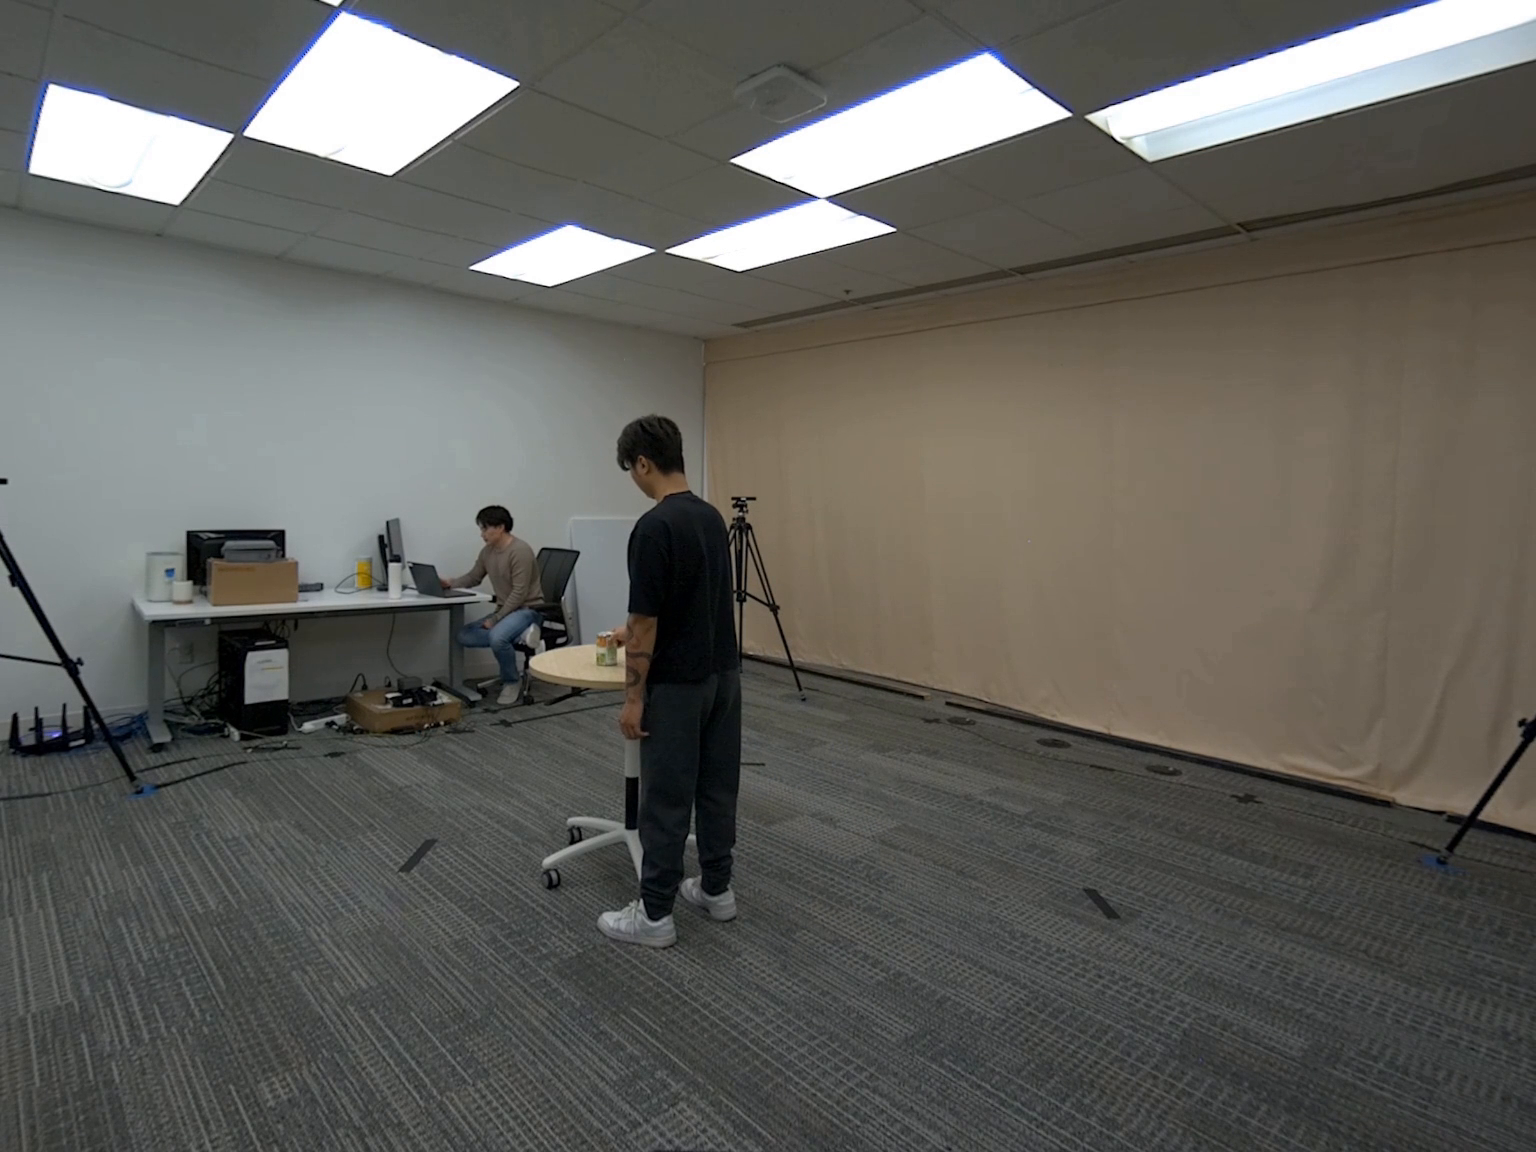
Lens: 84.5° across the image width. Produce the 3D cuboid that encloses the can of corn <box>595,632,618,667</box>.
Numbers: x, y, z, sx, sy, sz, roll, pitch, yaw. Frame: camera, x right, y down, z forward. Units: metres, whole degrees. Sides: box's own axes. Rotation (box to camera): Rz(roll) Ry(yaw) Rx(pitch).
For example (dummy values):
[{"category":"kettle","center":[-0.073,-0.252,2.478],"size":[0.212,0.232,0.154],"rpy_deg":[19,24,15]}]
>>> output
[{"category":"can of corn","center":[-0.593,0.265,3.053],"size":[0.074,0.111,0.074],"rpy_deg":[1,3,-1]}]
